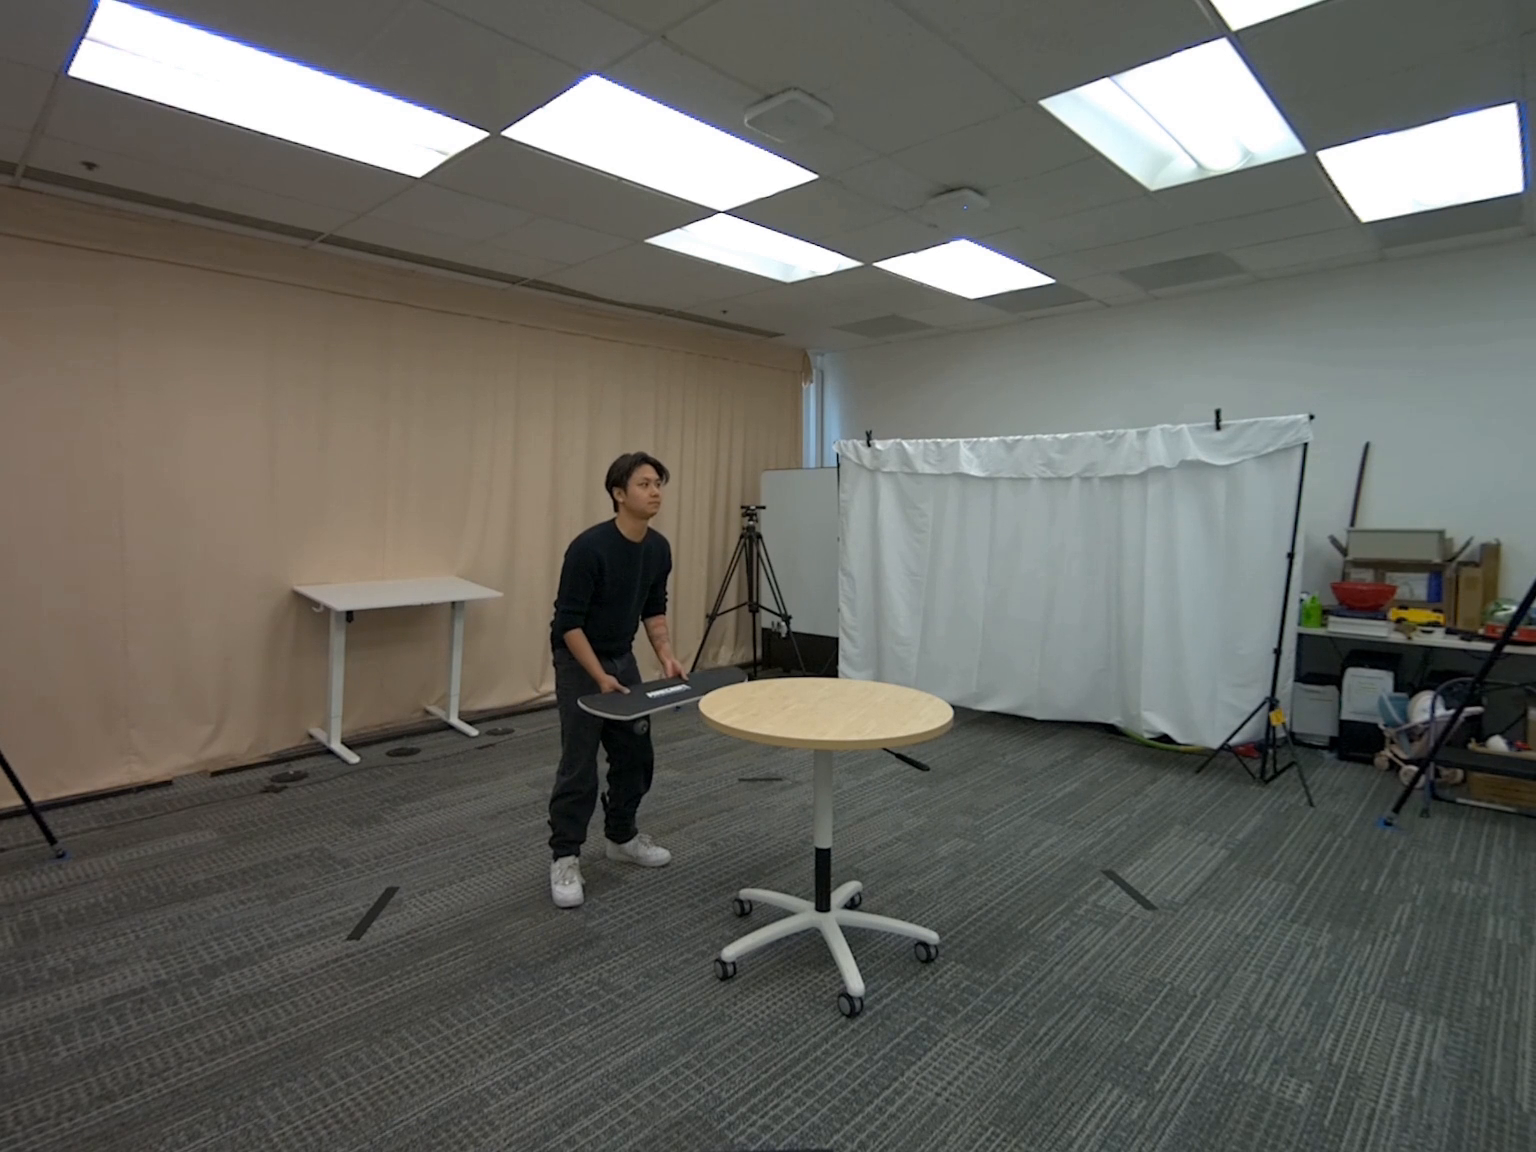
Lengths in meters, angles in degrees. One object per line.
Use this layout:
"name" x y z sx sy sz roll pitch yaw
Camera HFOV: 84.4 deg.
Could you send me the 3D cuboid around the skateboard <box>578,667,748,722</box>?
"skateboard" -0.352 0.453 3.029 0.200 0.110 0.762 19 16 37
